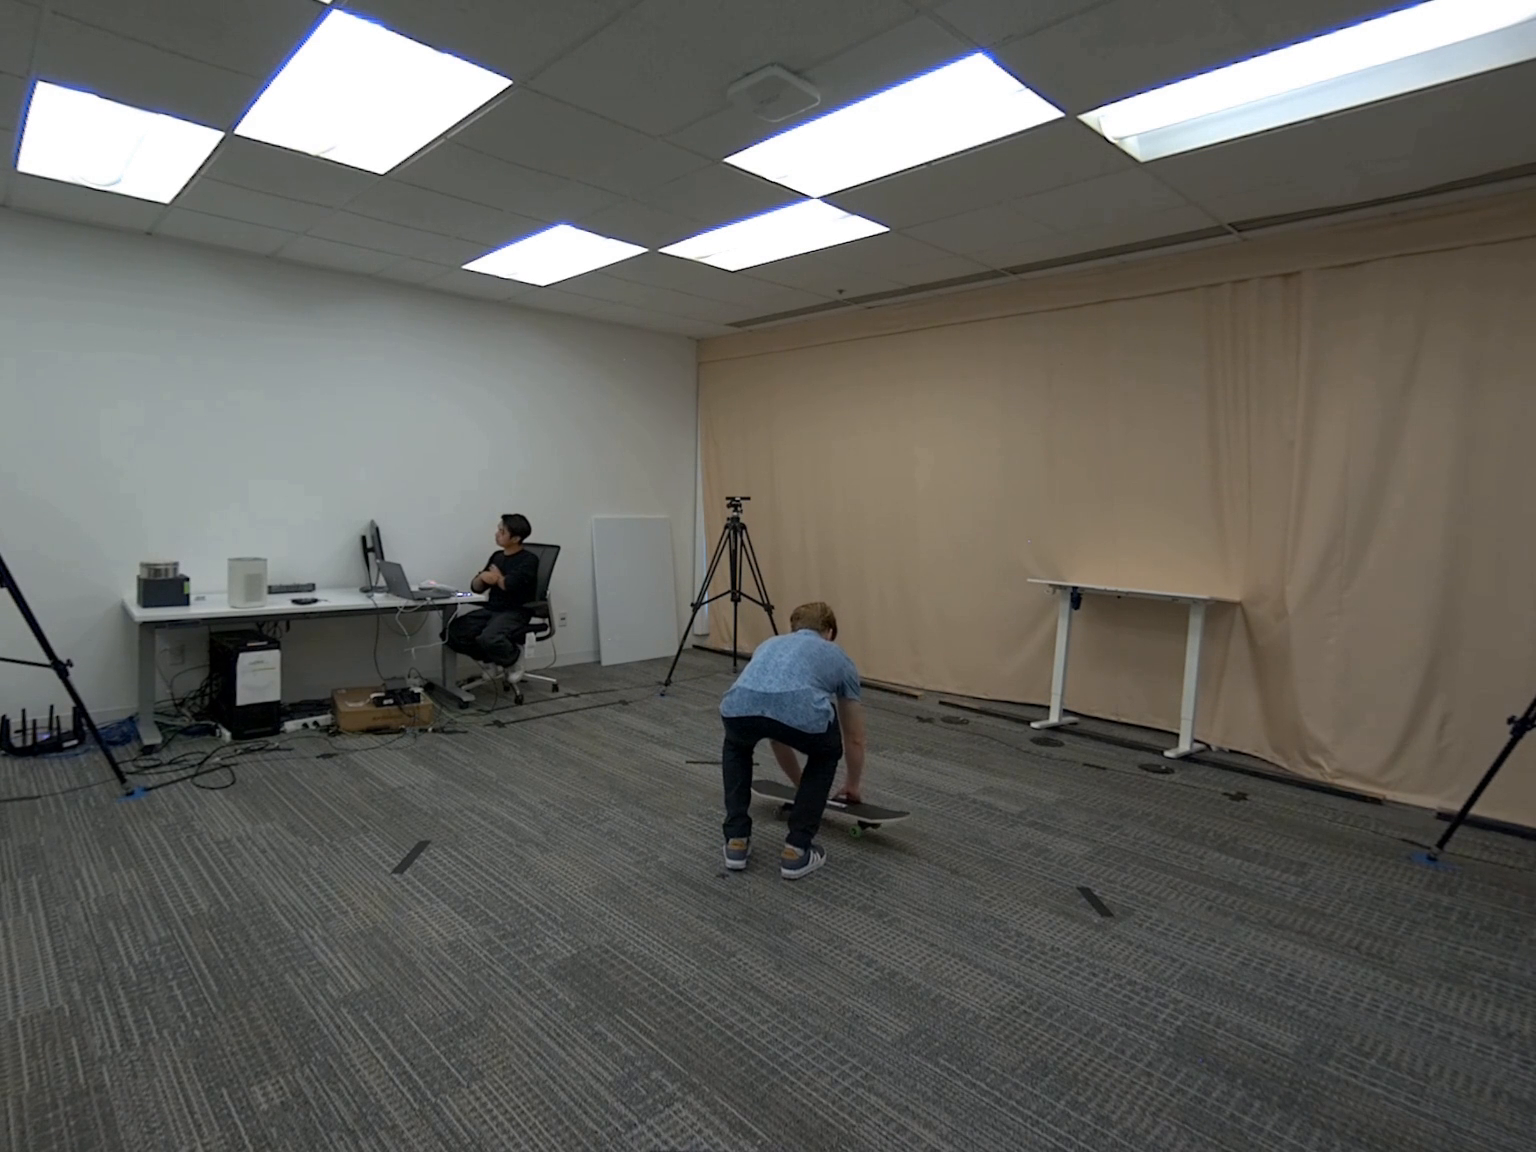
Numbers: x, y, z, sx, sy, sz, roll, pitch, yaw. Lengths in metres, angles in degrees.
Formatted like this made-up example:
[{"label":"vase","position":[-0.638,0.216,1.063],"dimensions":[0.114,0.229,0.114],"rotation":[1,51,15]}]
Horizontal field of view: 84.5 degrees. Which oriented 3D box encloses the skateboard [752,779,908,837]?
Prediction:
[{"label":"skateboard","position":[0.238,0.994,3.598],"dimensions":[0.804,0.110,0.189],"rotation":[3,1,39]}]
